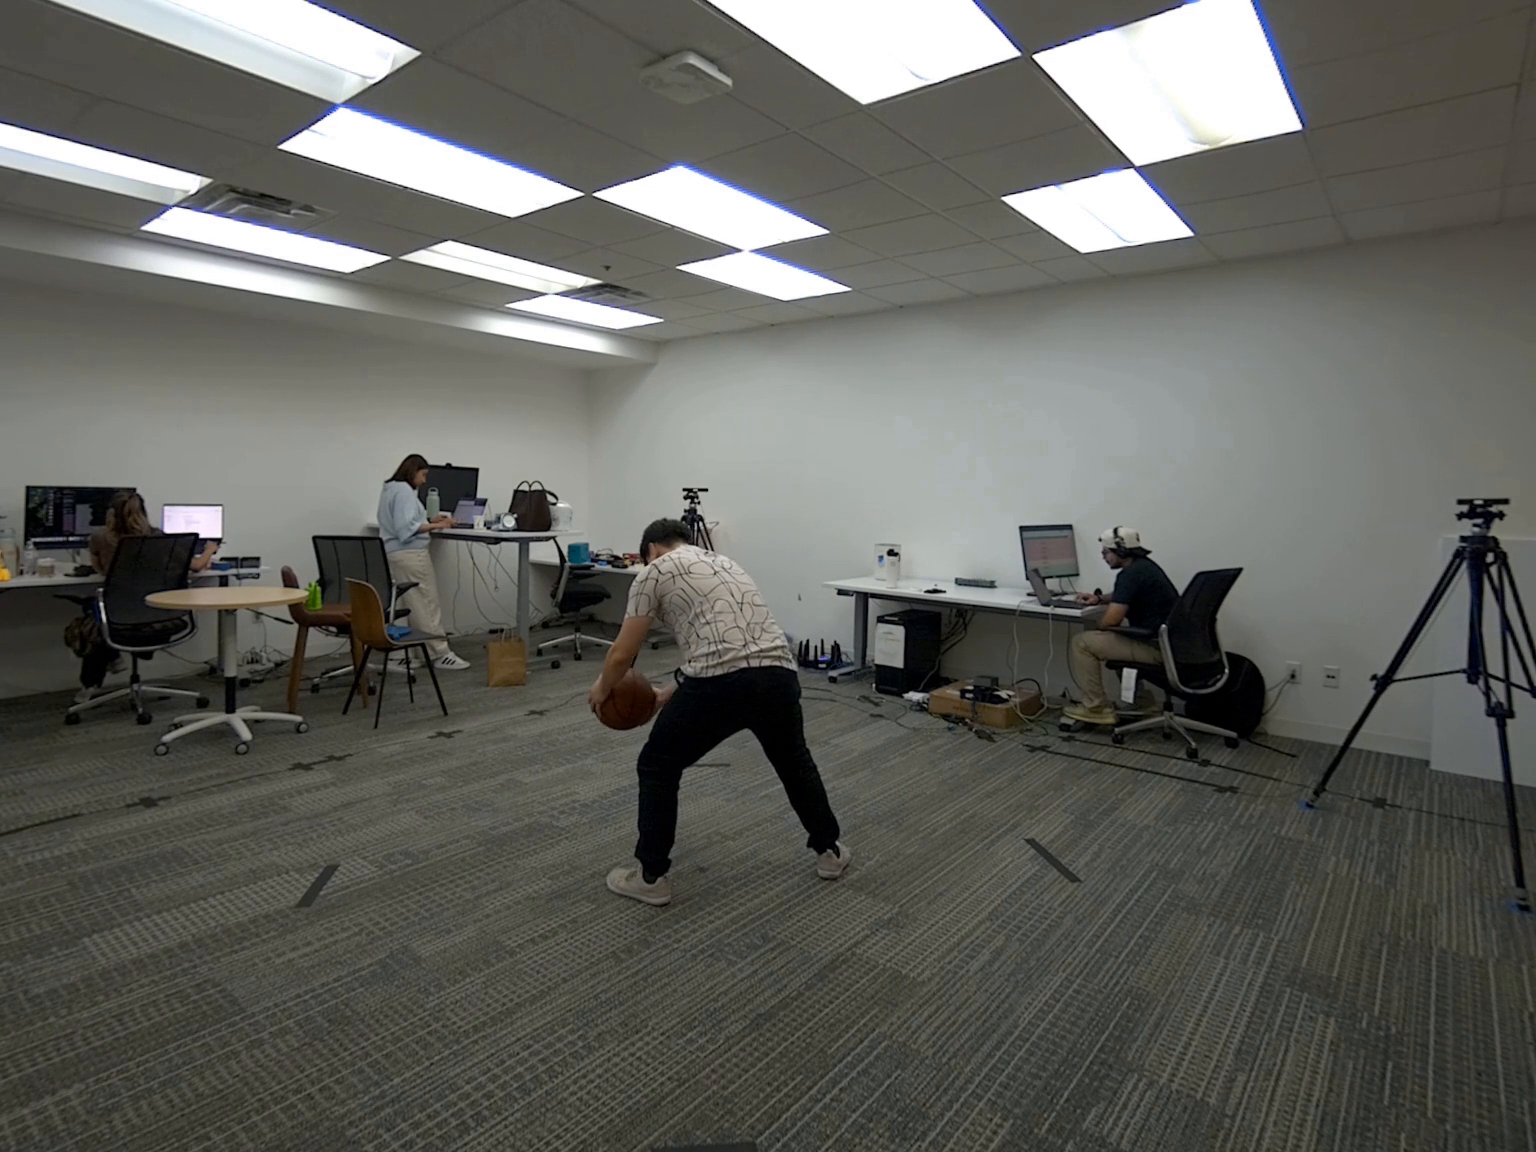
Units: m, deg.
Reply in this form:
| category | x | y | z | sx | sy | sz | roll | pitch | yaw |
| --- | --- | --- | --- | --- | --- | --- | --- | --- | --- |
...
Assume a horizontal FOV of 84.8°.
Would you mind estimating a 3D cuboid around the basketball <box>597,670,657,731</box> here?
| category | x | y | z | sx | sy | sz | roll | pitch | yaw |
| --- | --- | --- | --- | --- | --- | --- | --- | --- | --- |
| basketball | -0.570 | 0.462 | 3.273 | 0.235 | 0.235 | 0.237 | 1 | 4 | -2 |
